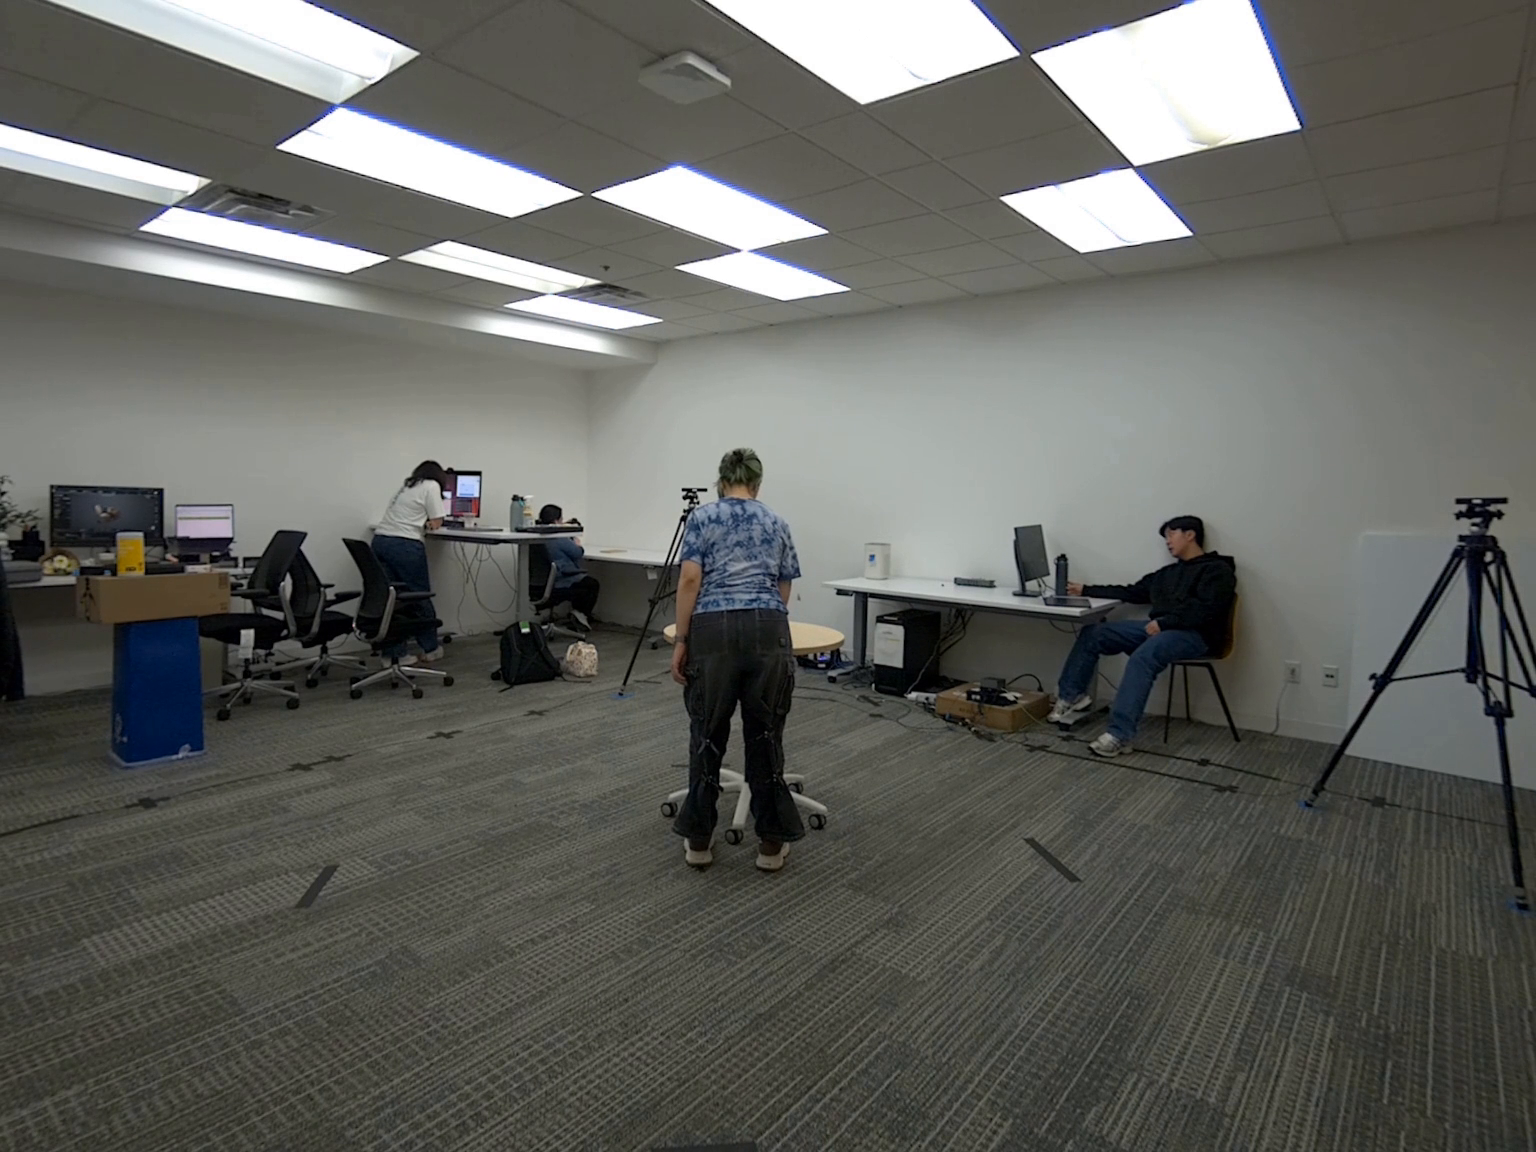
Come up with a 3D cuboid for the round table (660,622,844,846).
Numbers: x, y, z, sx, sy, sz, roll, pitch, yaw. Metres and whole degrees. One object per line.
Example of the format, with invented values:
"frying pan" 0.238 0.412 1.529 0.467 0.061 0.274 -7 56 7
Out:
"round table" -0.070 0.625 3.630 0.784 0.784 0.789 1 4 -2
